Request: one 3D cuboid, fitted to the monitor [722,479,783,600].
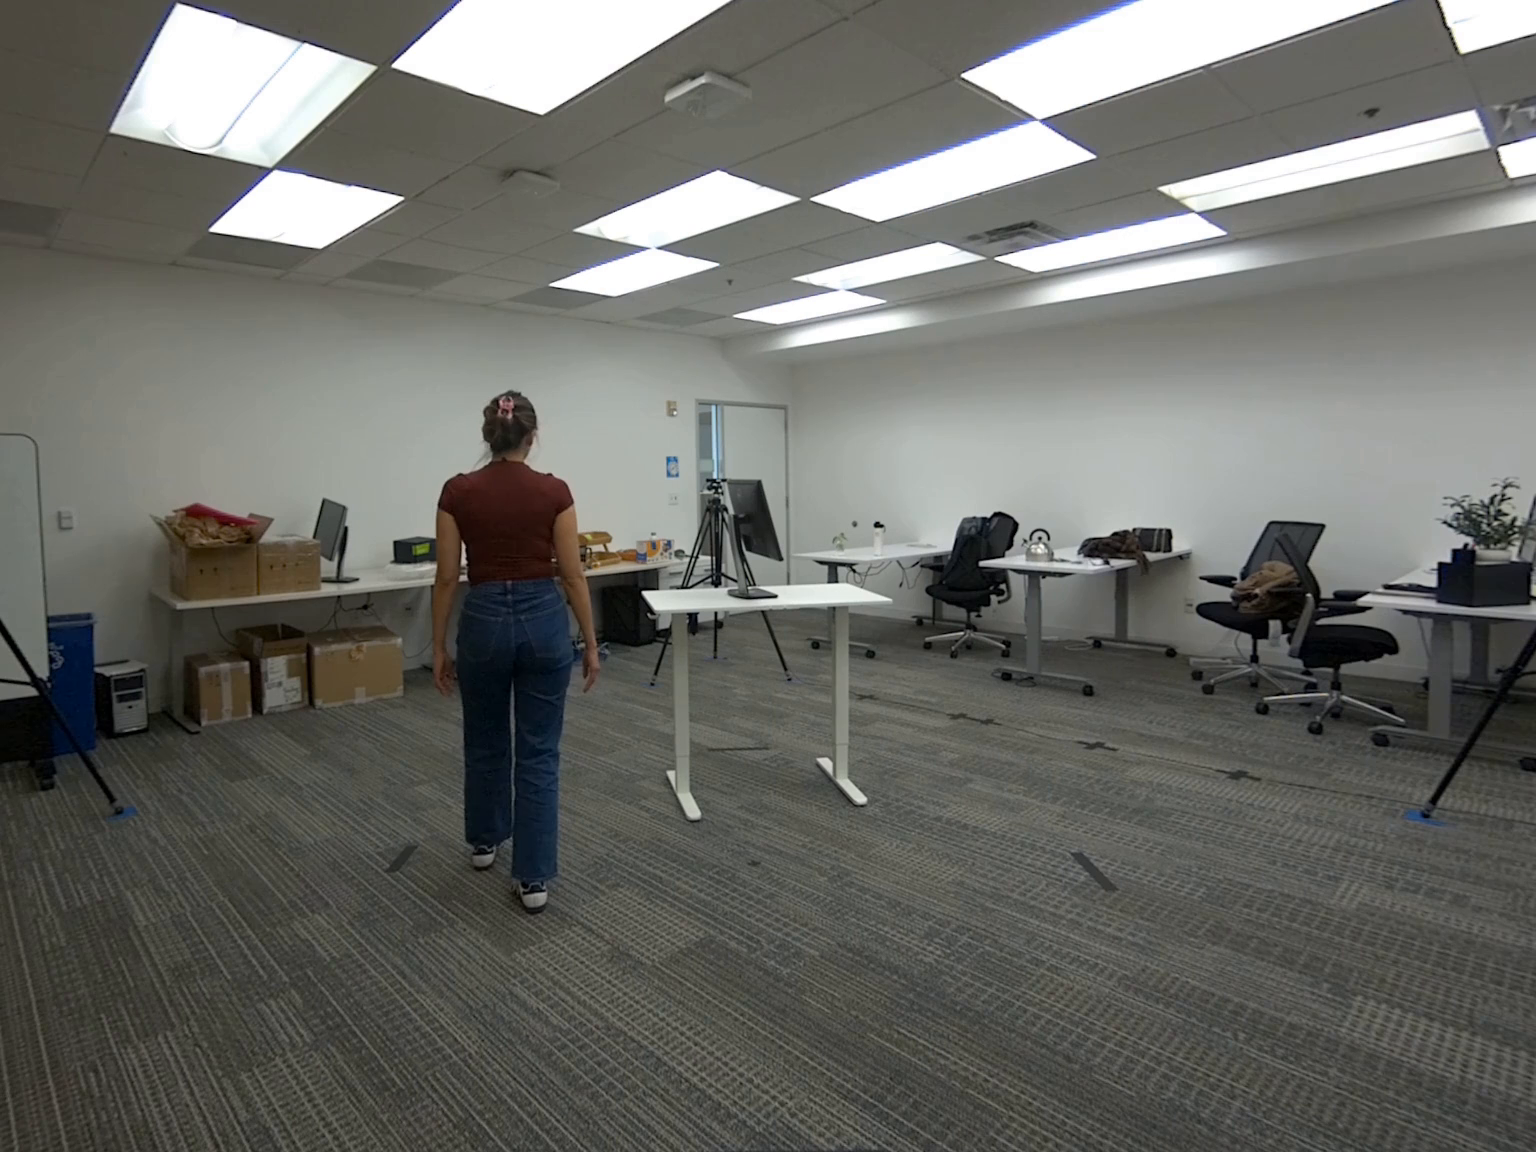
[{"bbox_3d":[-0.095,-0.167,3.784,0.184,0.520,0.550,-4,6,-18],"label":"monitor"}]
